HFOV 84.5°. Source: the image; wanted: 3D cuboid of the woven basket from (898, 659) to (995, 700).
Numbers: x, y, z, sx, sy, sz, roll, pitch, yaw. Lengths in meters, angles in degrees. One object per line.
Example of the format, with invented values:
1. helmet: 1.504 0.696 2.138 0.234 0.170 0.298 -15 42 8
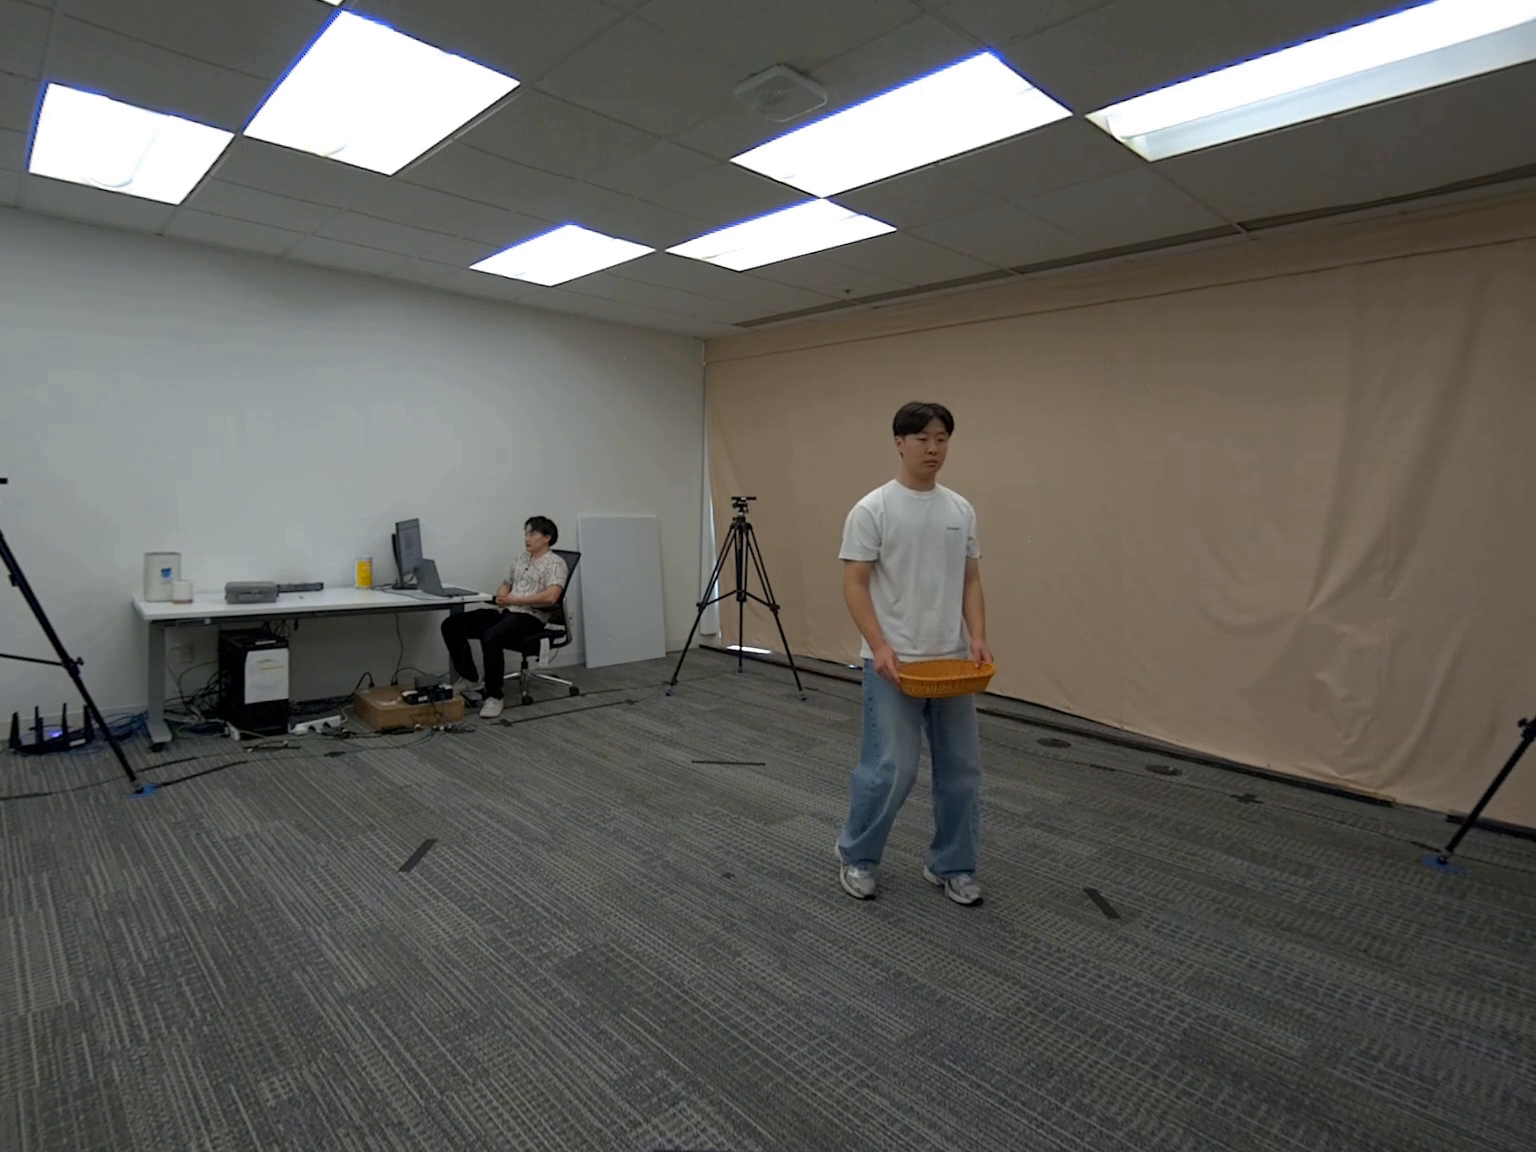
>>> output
1. woven basket: 0.564 0.331 2.758 0.345 0.073 0.258 -7 8 -26
